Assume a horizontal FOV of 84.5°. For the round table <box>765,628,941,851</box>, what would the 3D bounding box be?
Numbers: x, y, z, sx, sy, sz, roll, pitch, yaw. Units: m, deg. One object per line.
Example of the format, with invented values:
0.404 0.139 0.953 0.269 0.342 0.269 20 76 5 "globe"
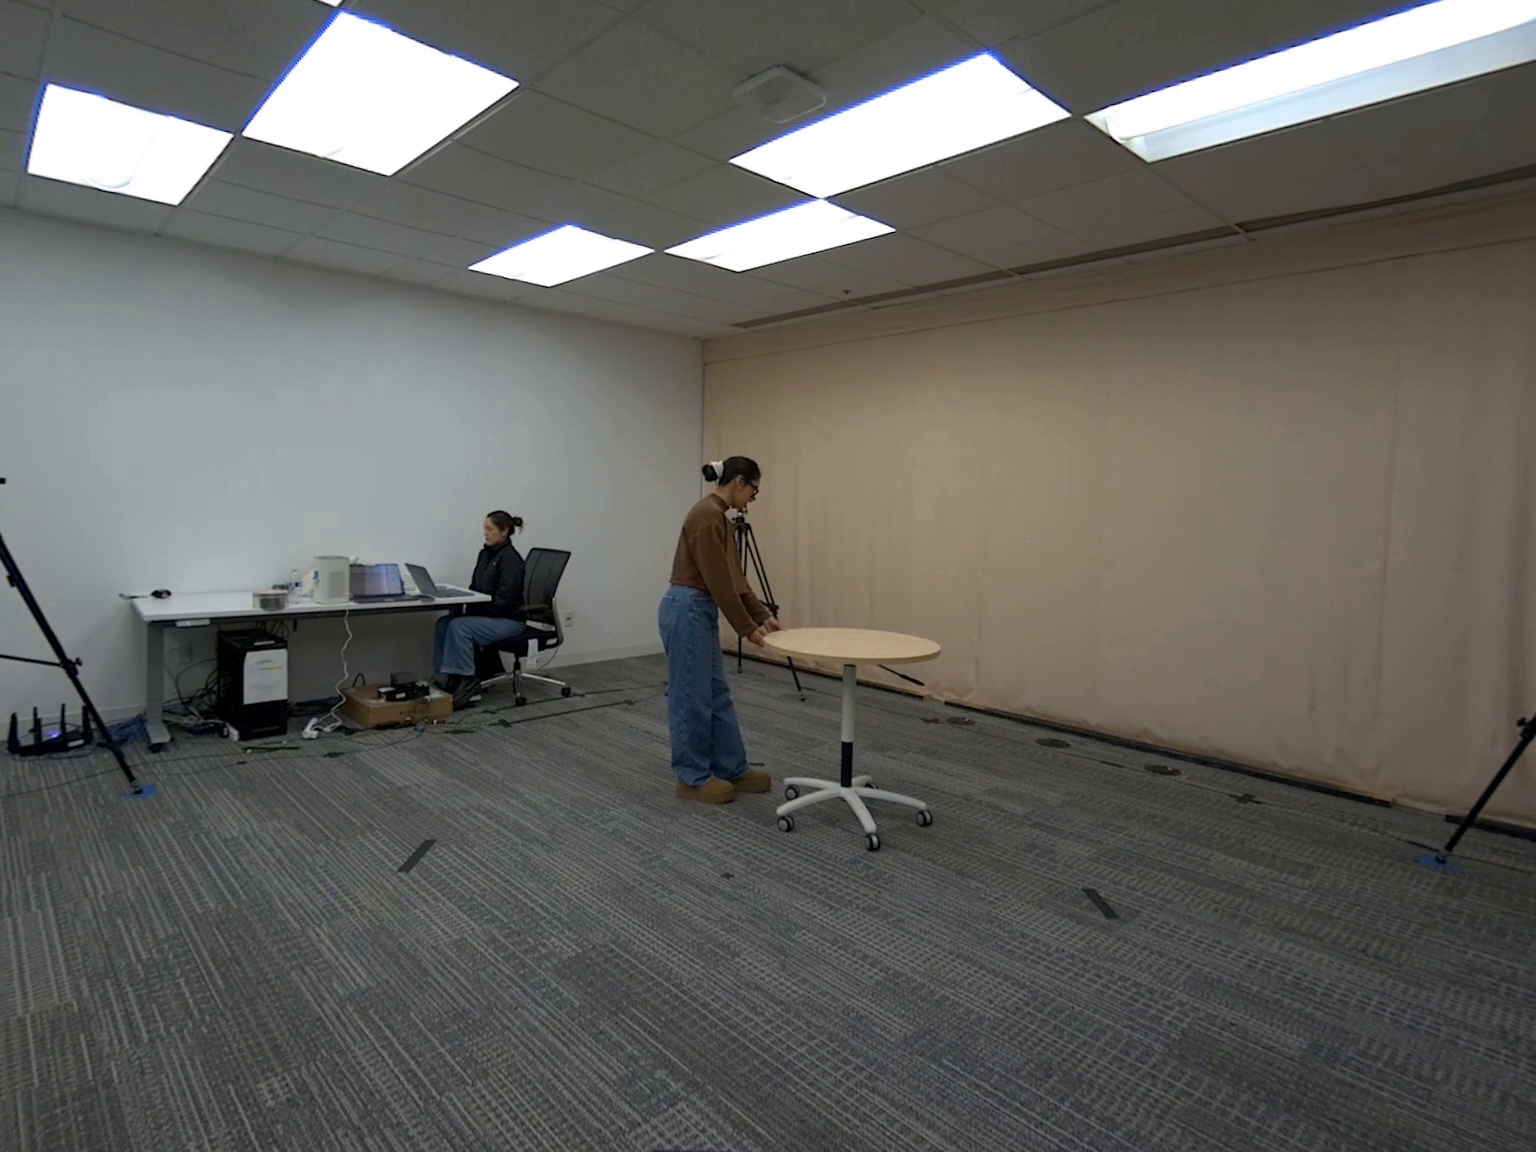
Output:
0.343 0.678 3.695 0.763 0.792 0.766 2 4 -1 "round table"
